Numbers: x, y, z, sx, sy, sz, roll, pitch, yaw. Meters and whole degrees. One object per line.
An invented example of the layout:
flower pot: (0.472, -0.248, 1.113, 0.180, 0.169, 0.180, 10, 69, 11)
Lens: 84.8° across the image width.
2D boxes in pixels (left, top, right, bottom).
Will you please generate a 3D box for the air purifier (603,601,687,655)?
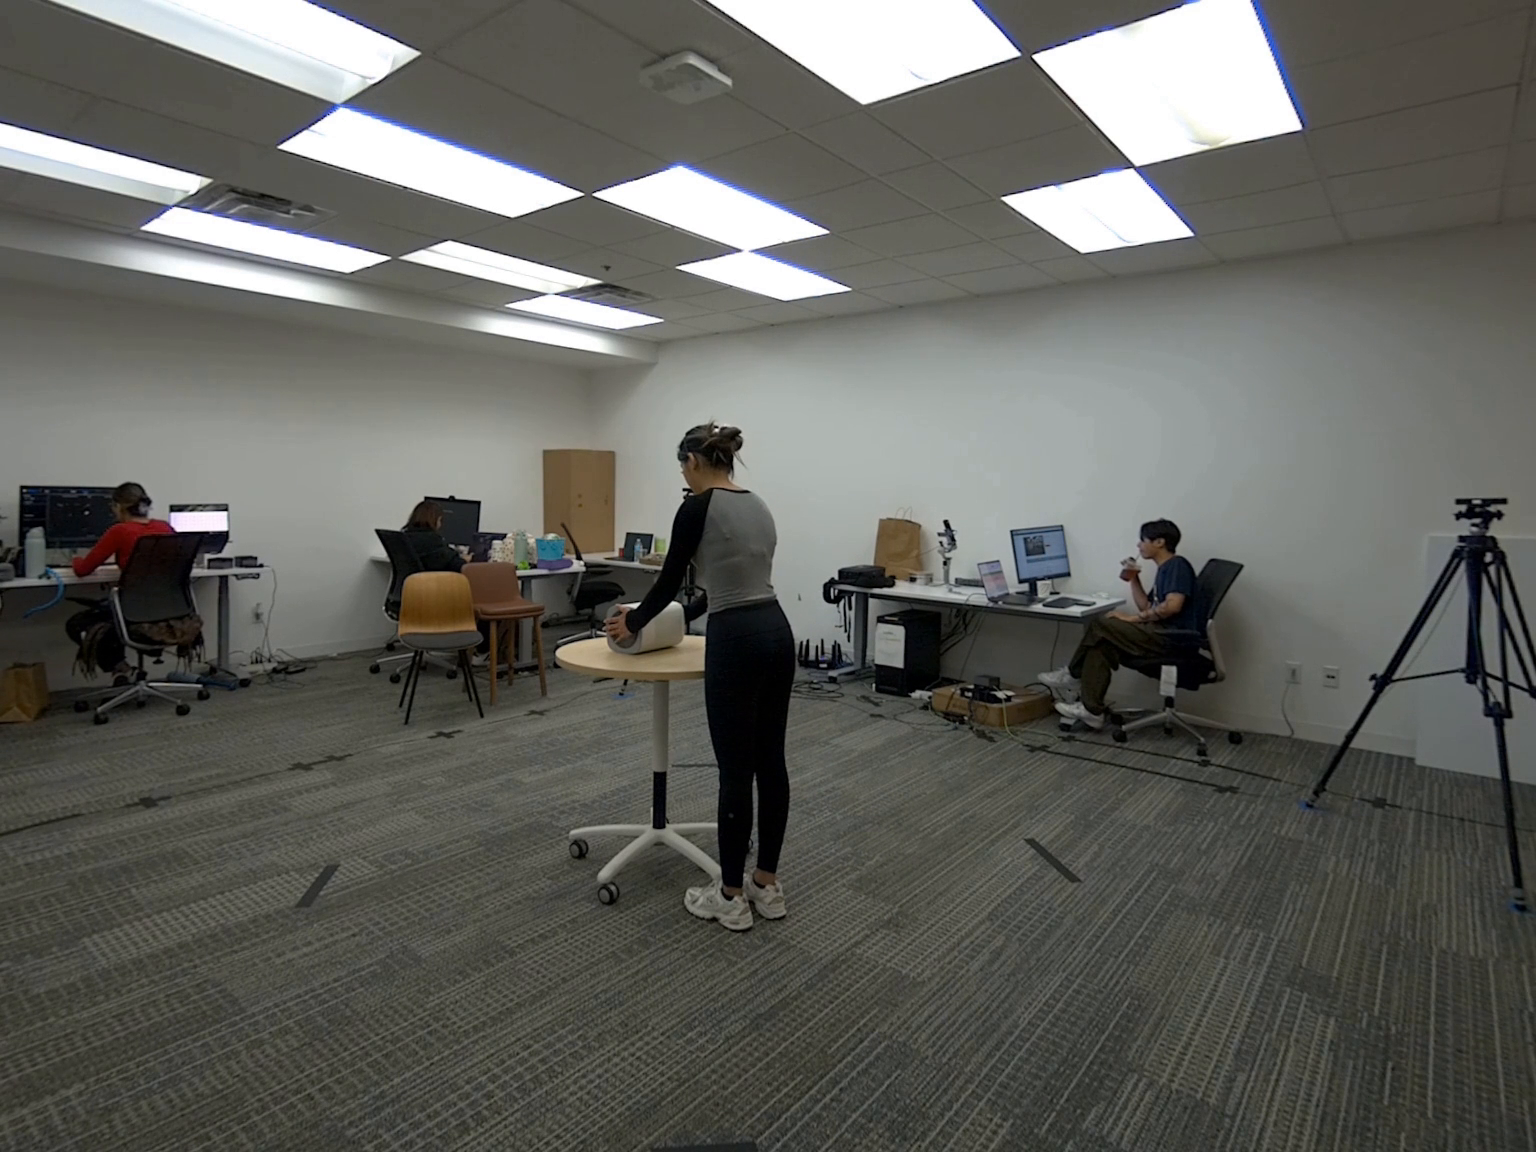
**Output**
air purifier: (-0.458, 0.180, 3.157, 0.176, 0.171, 0.258, 2, 4, 34)
